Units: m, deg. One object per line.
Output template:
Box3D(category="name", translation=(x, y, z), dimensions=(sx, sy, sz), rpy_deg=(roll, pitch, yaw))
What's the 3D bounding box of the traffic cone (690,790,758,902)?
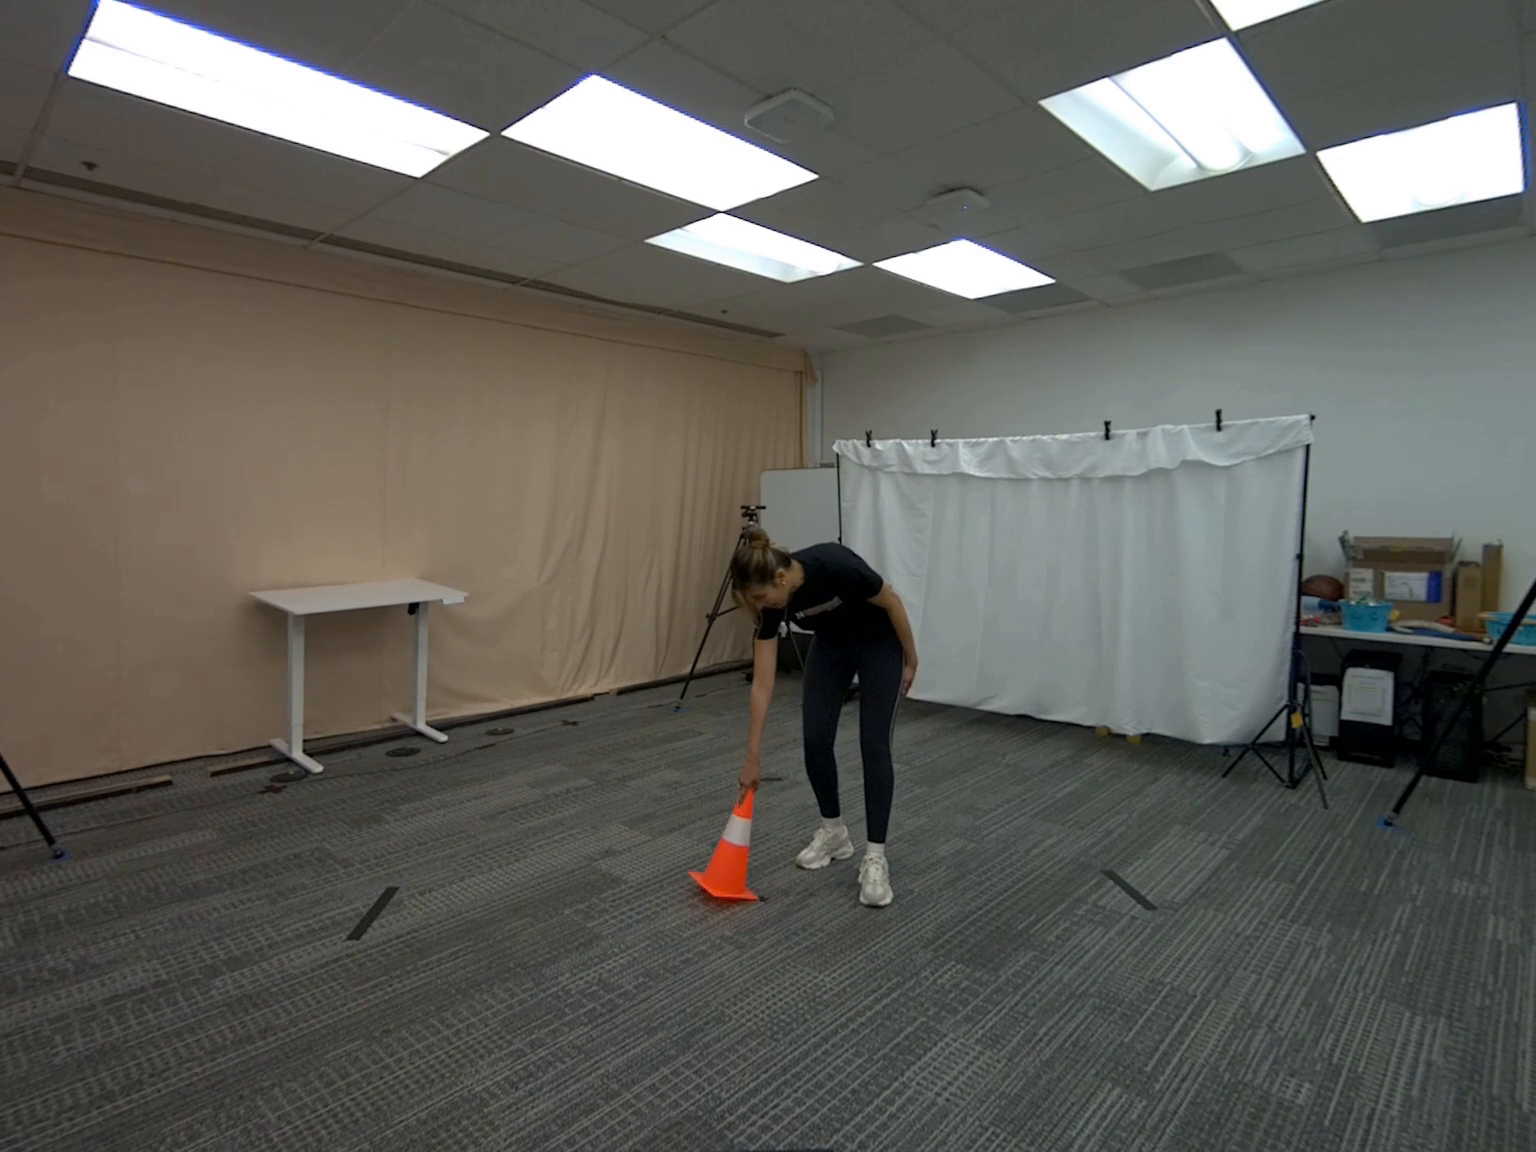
Box3D(category="traffic cone", translation=(-0.093, 0.936, 3.020), dimensions=(0.197, 0.384, 0.210), rpy_deg=(20, -4, -43))
